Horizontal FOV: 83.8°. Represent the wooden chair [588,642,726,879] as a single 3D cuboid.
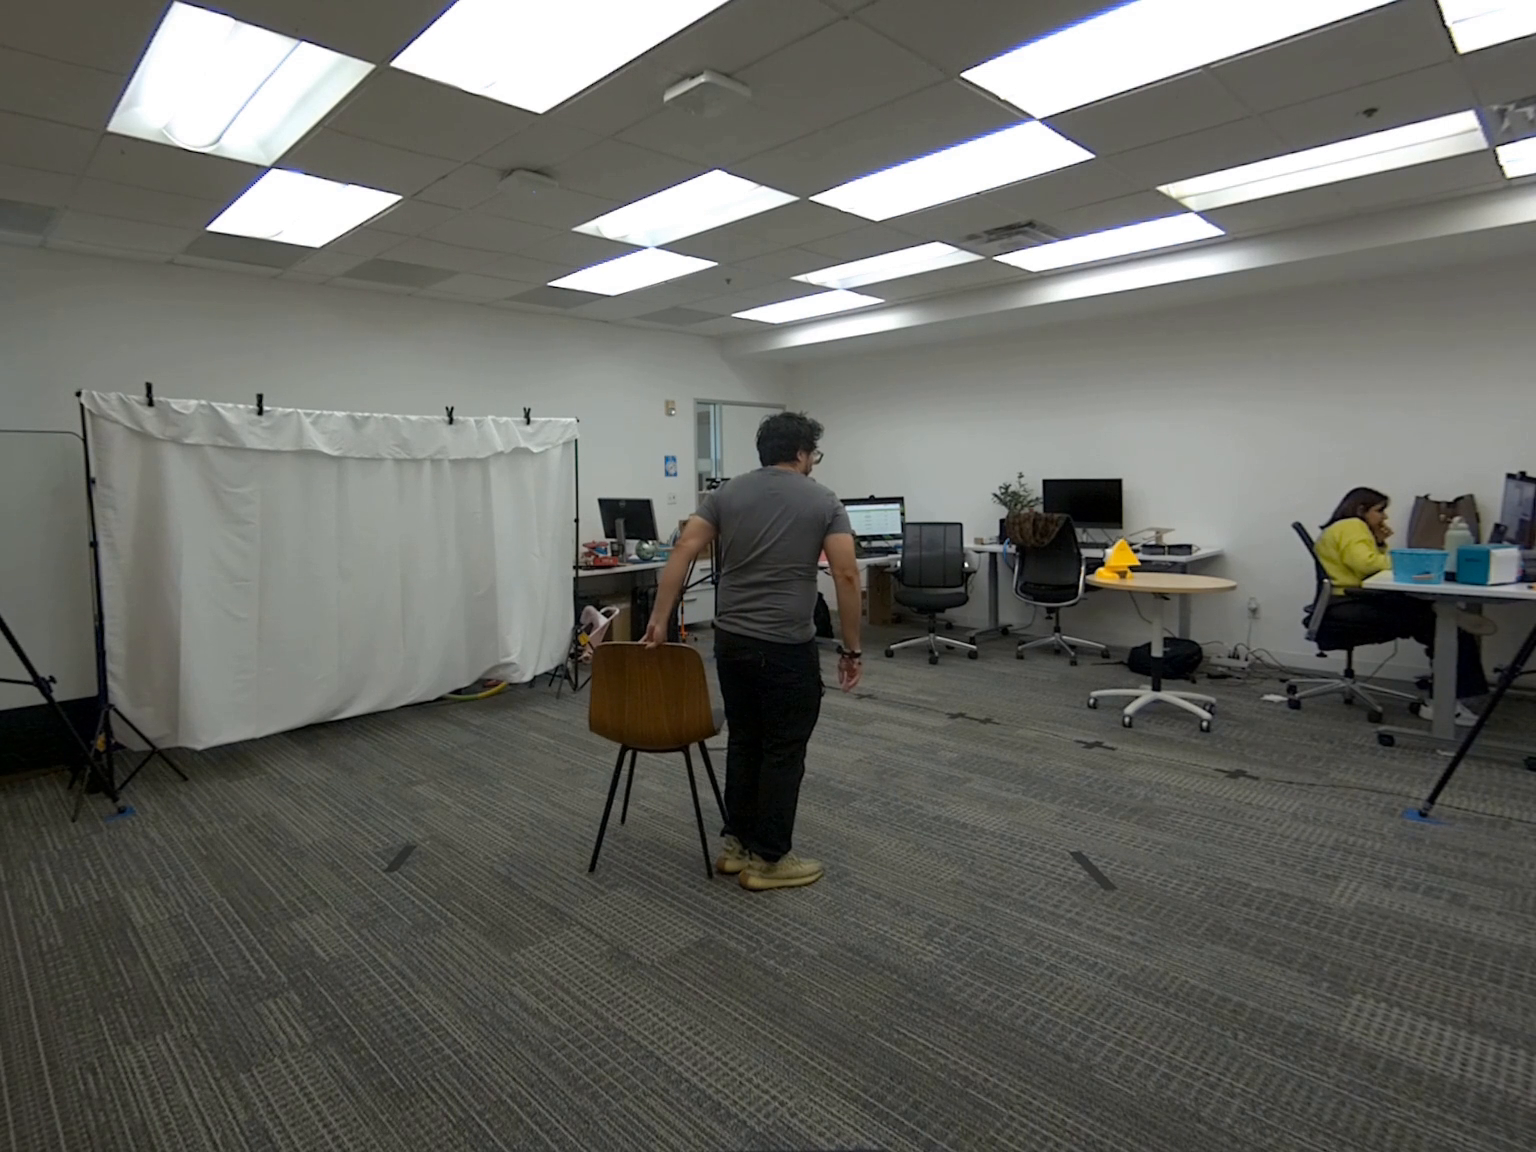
[{"bbox_3d":[-0.399,0.607,3.214,0.482,0.871,0.523,-1,8,7],"label":"wooden chair"}]
